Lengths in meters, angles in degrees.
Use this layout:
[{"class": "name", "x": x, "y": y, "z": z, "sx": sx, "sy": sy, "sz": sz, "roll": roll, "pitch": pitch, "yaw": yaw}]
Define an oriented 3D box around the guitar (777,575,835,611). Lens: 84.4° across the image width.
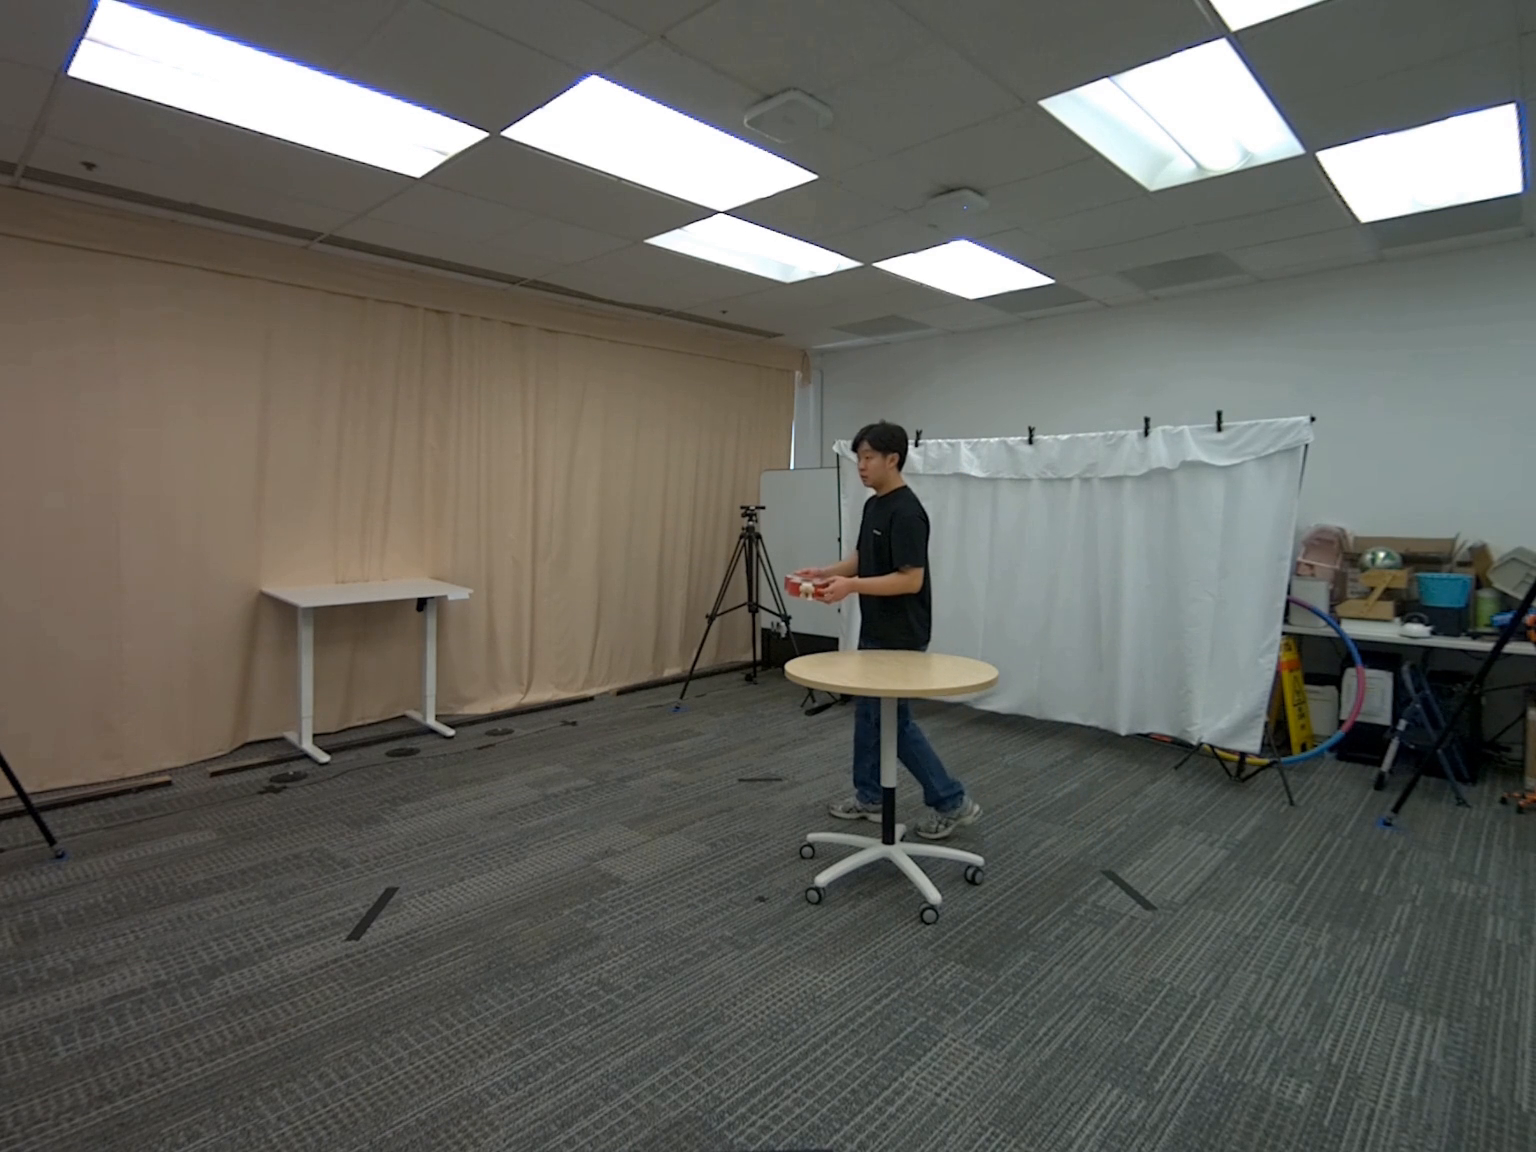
[{"class": "guitar", "x": 0.176, "y": 0.054, "z": 3.399, "sx": 0.195, "sy": 0.070, "sz": 0.493, "roll": 6, "pitch": 7, "yaw": 10}]
